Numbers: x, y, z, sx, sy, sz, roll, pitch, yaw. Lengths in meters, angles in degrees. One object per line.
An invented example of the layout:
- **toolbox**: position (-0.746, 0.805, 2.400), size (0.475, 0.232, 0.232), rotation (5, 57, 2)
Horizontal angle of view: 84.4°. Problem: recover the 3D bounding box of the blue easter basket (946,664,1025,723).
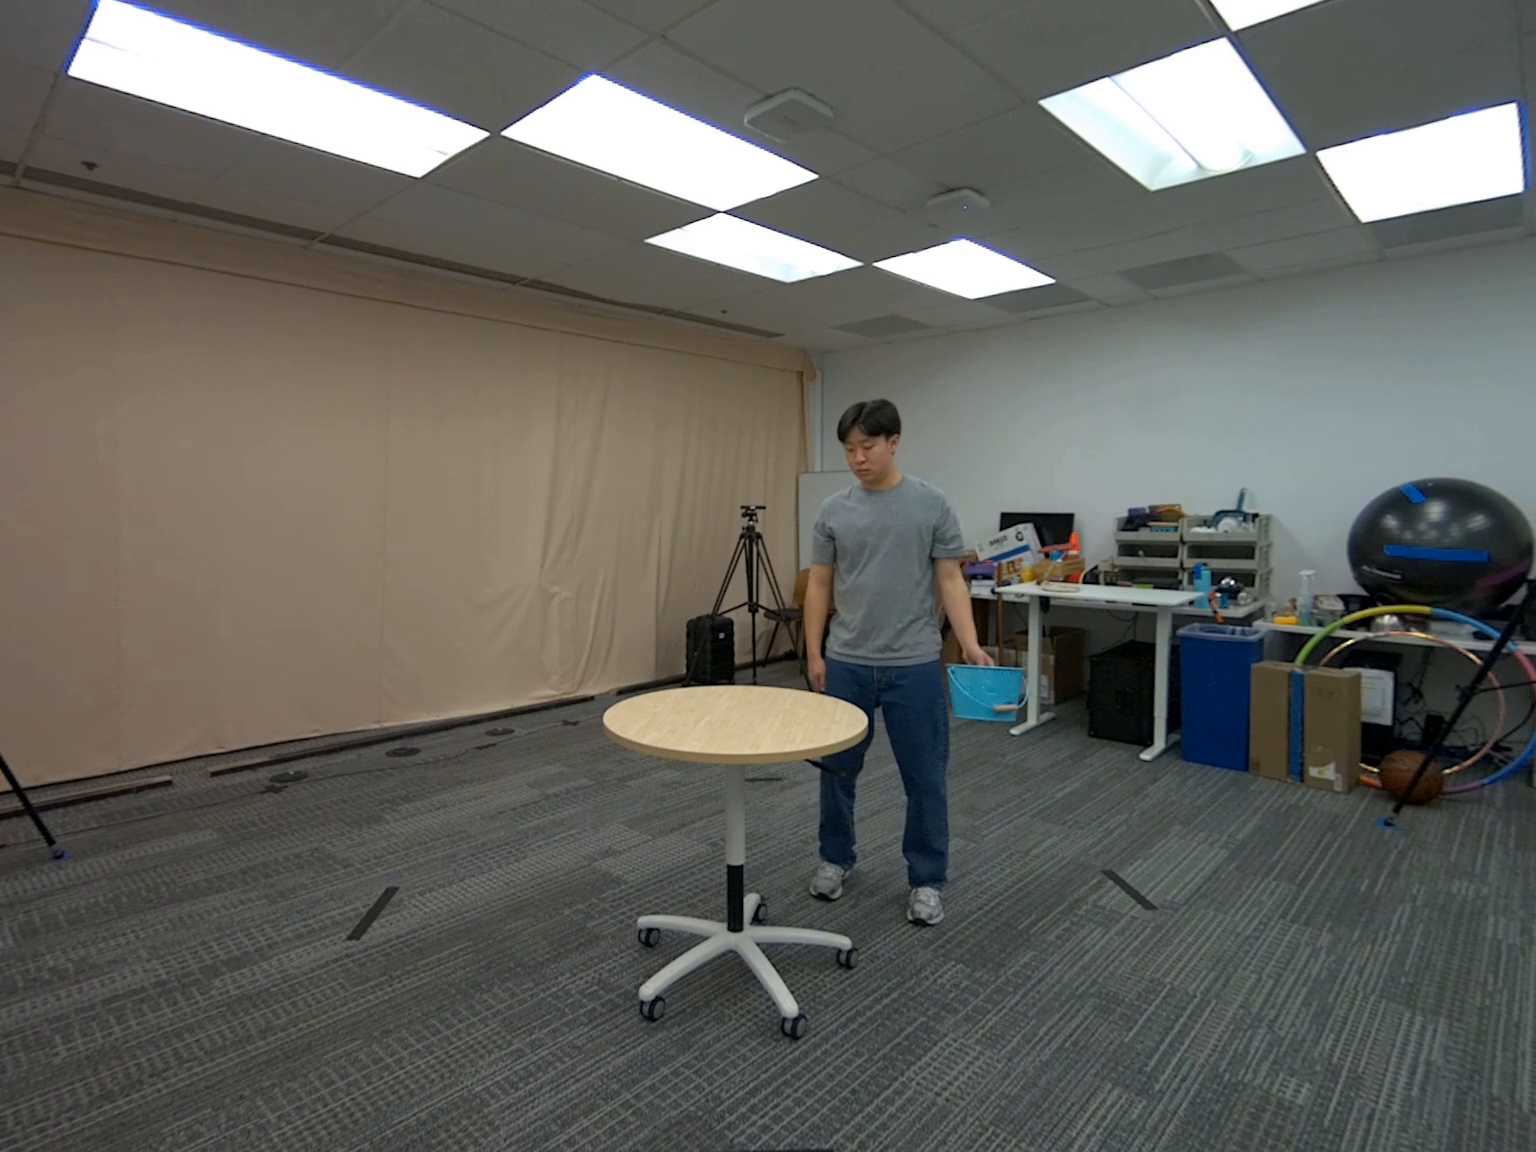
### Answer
- **blue easter basket**: position (0.643, 0.337, 2.516), size (0.243, 0.156, 0.243), rotation (3, -6, -2)
